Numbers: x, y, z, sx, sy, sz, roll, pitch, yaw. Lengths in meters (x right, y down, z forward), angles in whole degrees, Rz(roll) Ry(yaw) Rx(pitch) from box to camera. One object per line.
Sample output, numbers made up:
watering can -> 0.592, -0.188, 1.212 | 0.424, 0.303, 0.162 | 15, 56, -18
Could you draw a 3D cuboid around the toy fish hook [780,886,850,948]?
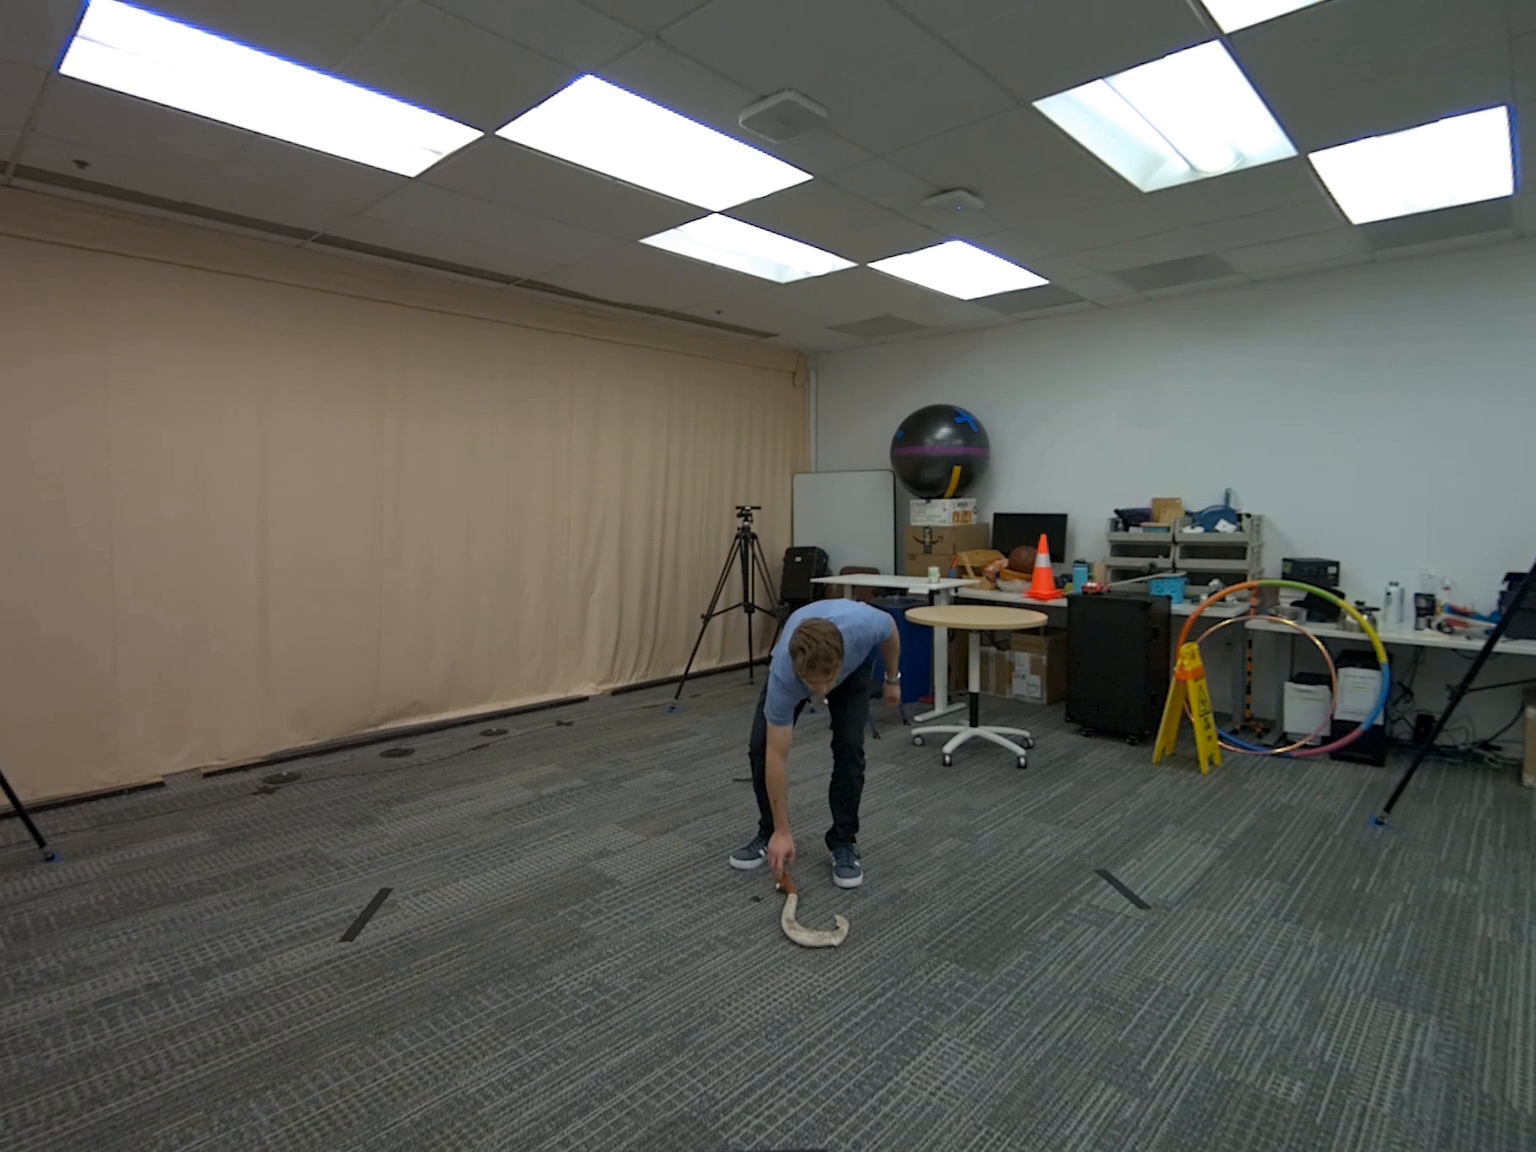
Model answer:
toy fish hook -> 0.138, 1.133, 2.892 | 0.223, 0.048, 0.511 | 8, 4, -7
